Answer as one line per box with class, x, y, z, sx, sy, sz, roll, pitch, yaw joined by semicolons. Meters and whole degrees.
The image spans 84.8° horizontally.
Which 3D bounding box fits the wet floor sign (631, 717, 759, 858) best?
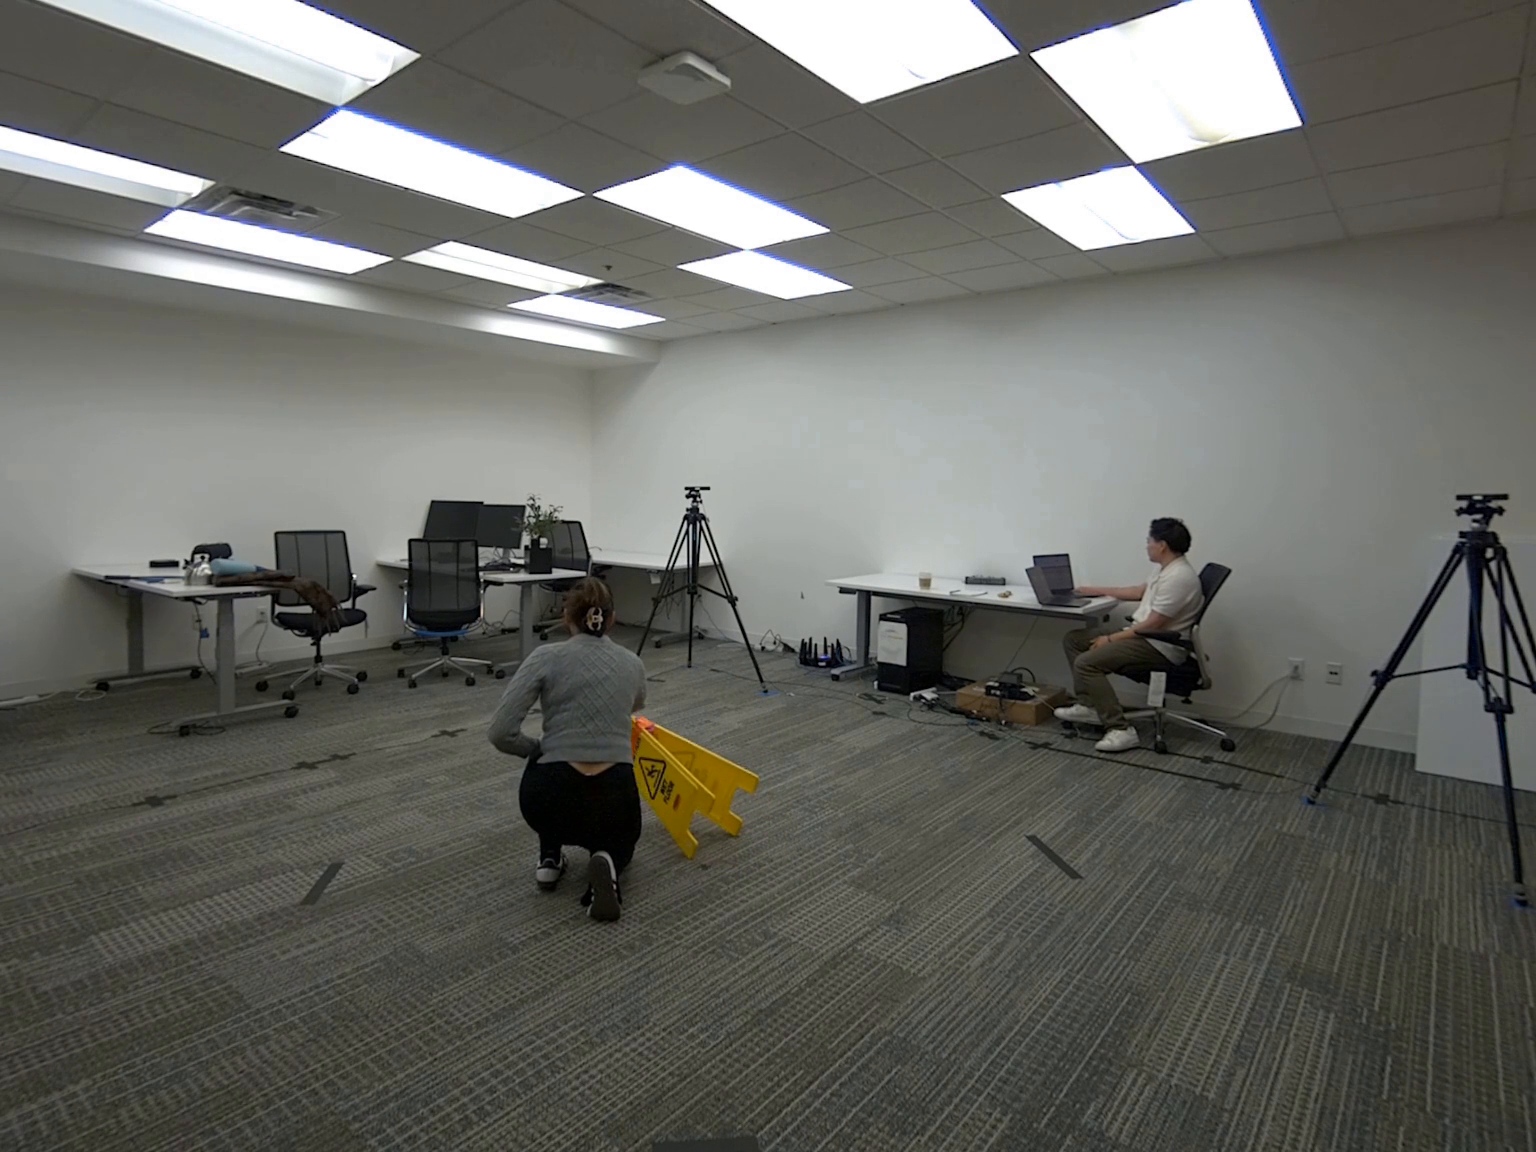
wet floor sign;-0.409;0.788;3.438;0.671;0.280;0.281;30;19;32
